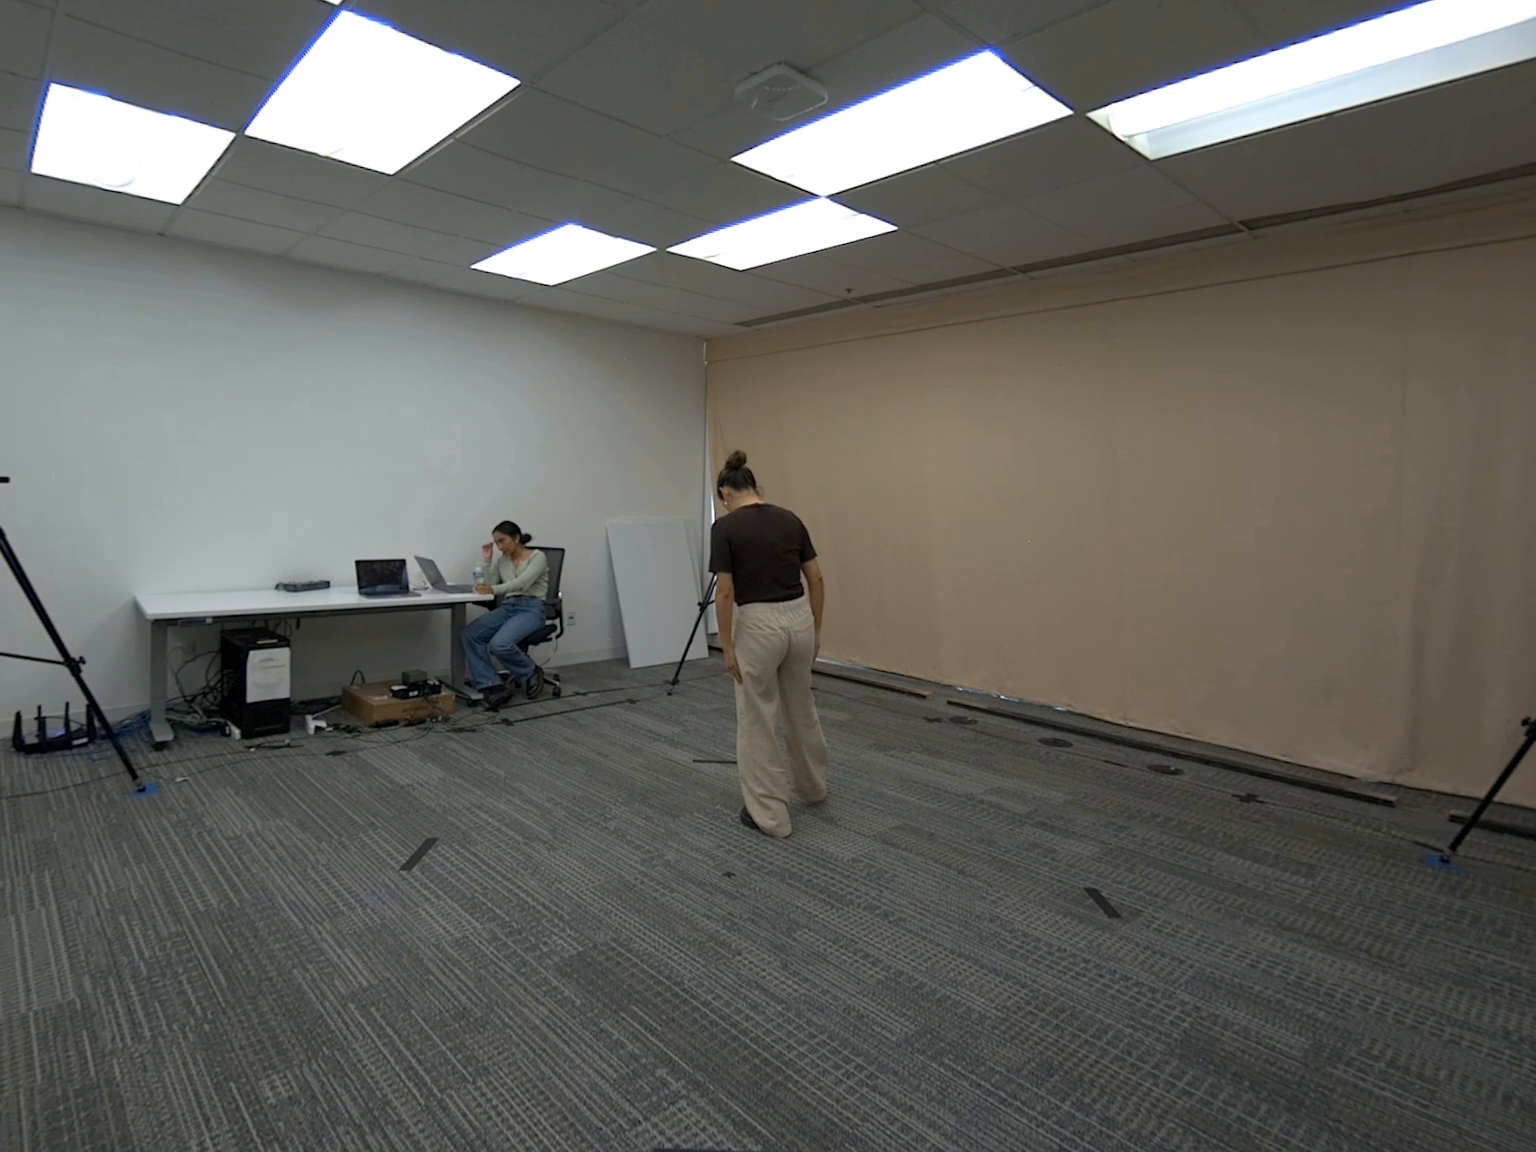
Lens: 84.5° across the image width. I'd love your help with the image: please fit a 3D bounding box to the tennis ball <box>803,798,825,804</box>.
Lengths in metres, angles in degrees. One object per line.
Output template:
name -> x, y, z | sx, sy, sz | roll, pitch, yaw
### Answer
tennis ball -> 0.217, 1.005, 4.043 | 0.066, 0.066, 0.067 | 1, 4, -1
